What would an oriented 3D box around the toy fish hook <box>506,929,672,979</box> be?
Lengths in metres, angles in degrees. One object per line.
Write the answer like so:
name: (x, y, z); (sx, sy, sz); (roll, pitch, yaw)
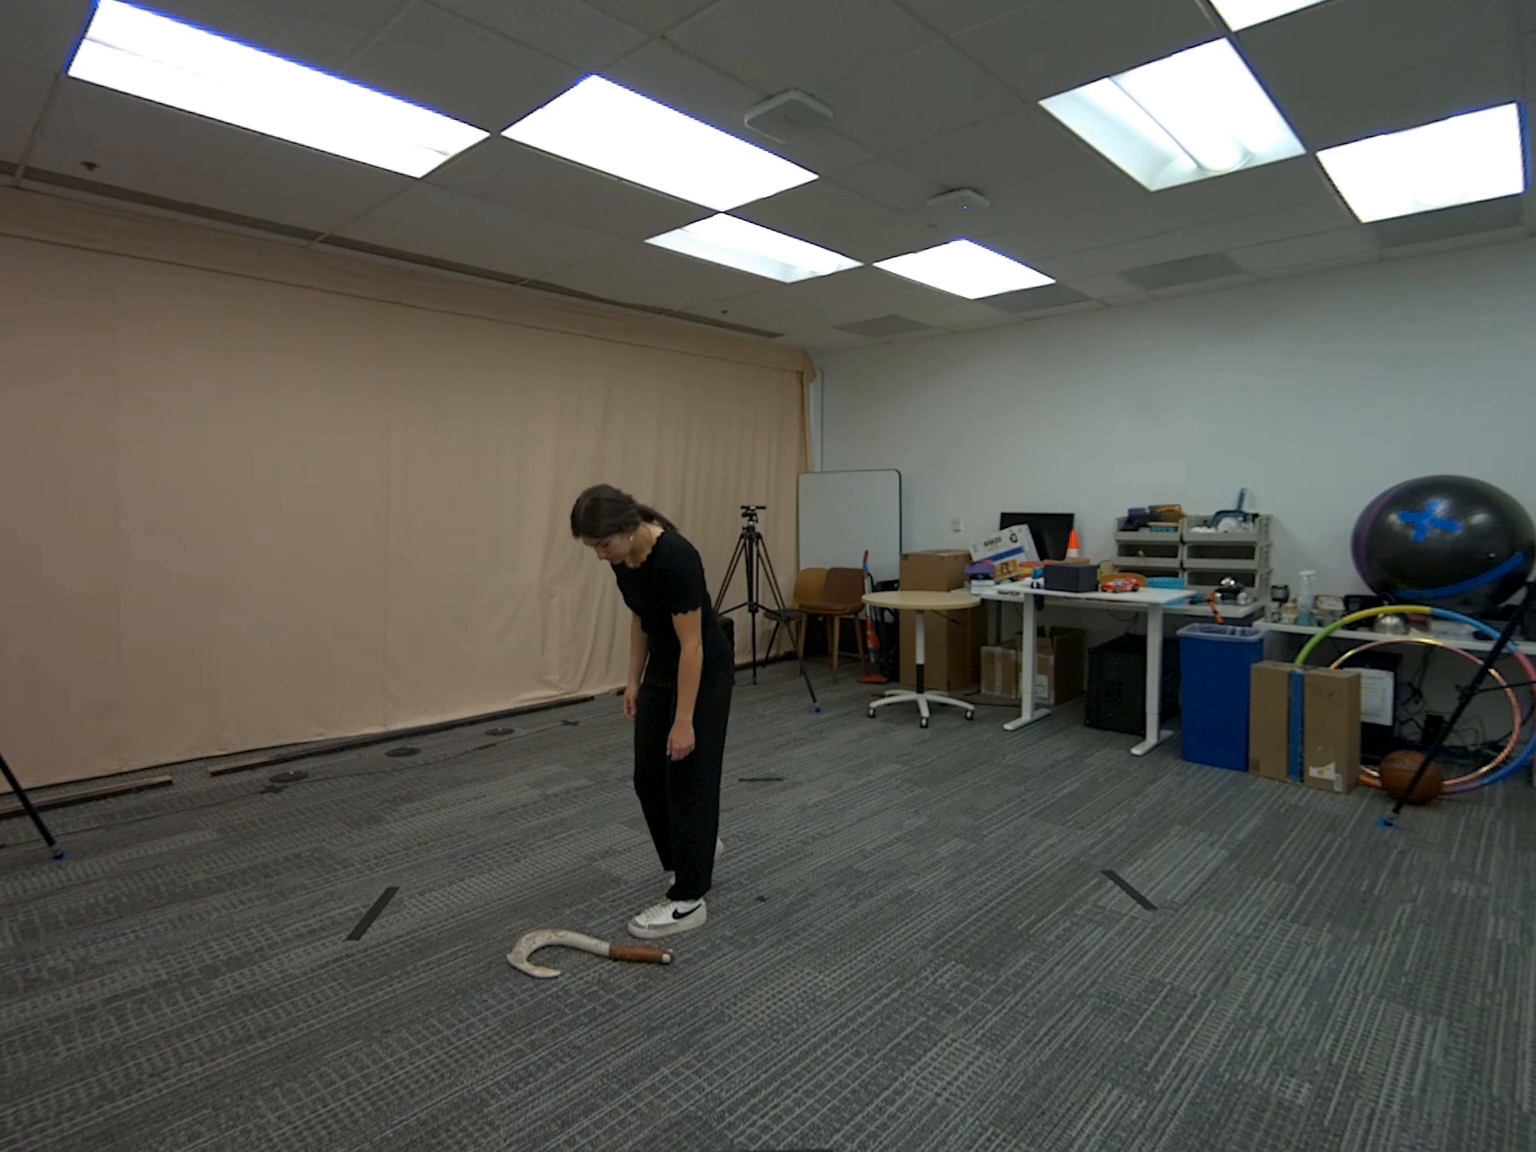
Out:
toy fish hook: (-0.540, 1.165, 2.567); (0.514, 0.048, 0.223); (-1, 12, 13)
